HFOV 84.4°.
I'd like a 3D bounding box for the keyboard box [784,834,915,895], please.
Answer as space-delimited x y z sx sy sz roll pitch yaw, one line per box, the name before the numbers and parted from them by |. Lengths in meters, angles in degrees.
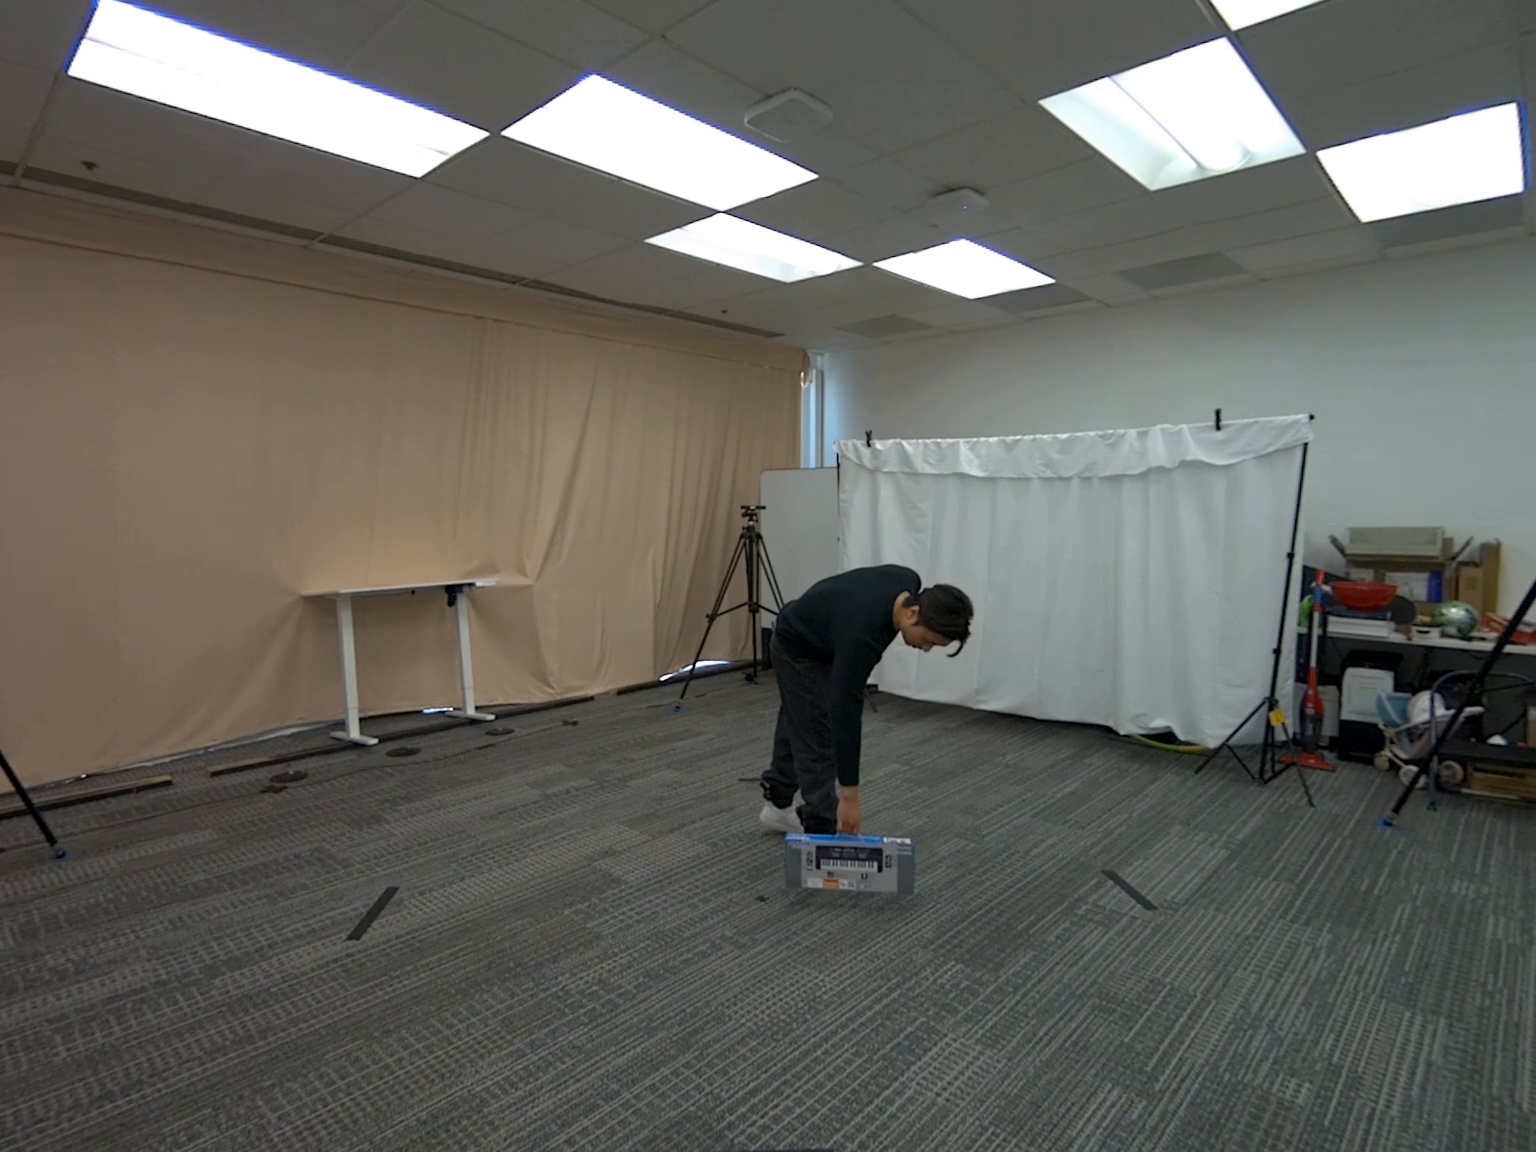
keyboard box | 0.287 0.987 2.905 0.441 0.175 0.059 1 3 8
